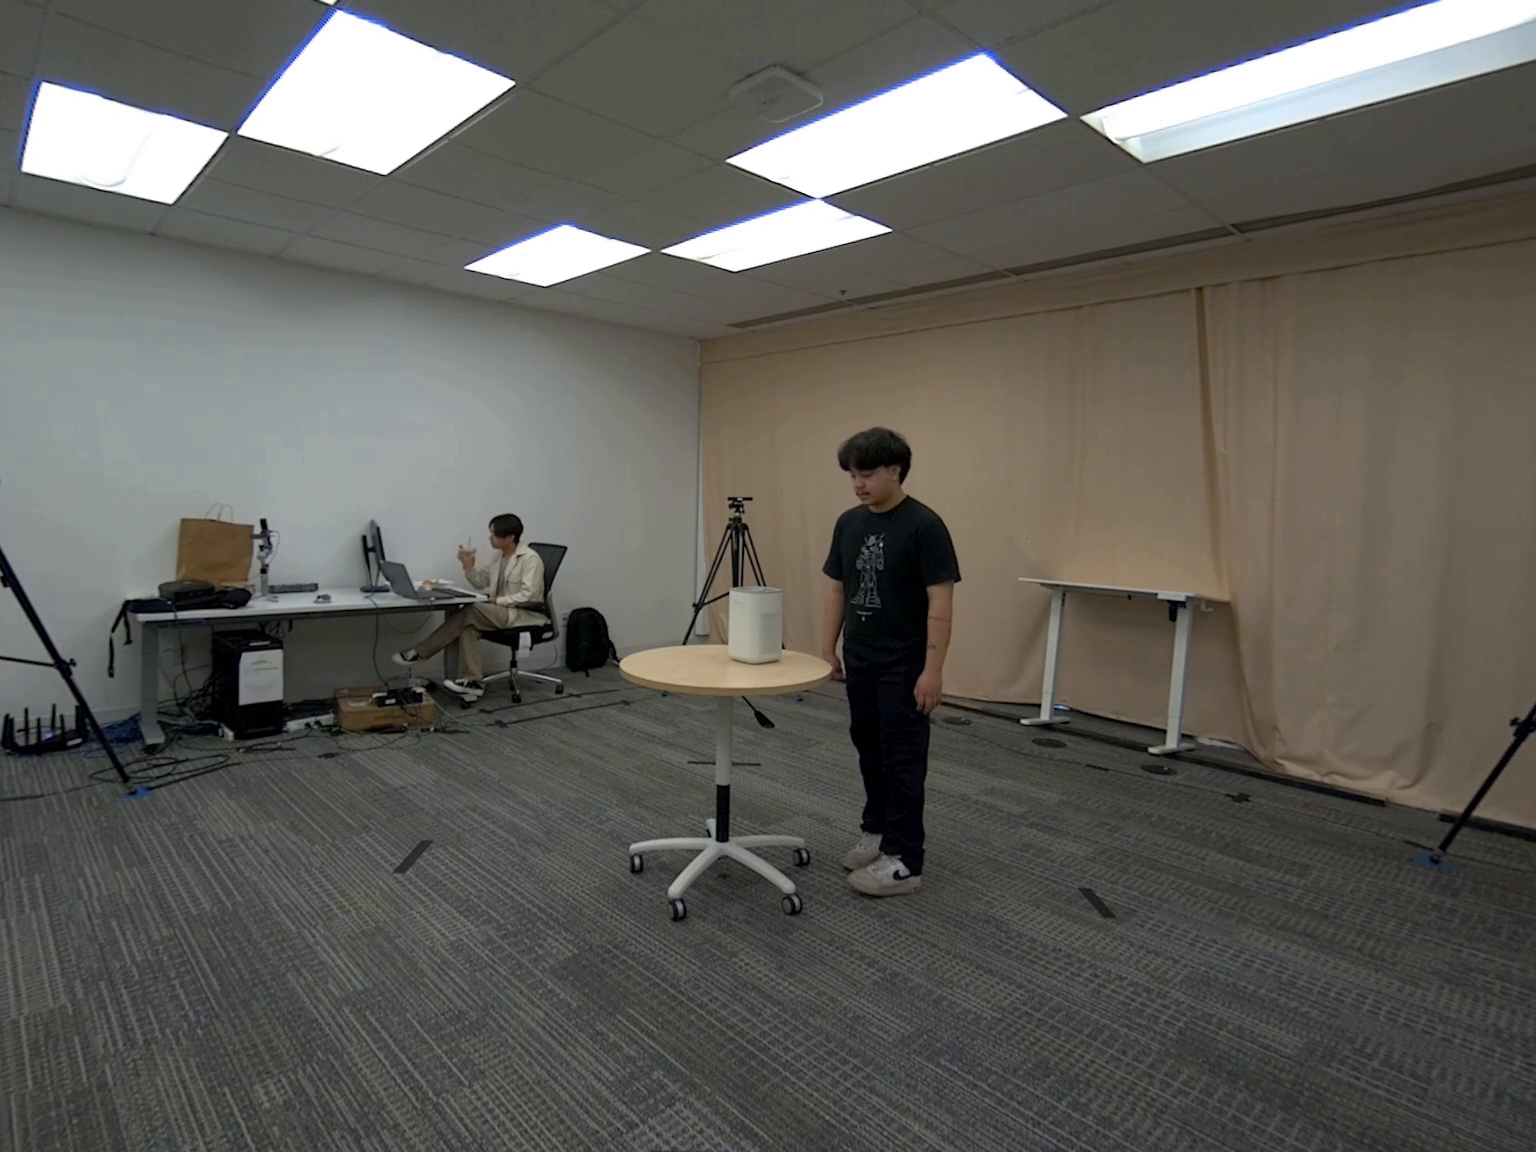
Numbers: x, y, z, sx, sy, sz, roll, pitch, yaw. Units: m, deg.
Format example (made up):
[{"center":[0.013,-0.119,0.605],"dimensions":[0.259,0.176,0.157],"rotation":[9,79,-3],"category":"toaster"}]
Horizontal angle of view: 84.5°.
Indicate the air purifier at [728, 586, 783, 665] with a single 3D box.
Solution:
[{"center":[-0.049,0.174,3.126],"dimensions":[0.168,0.265,0.175],"rotation":[-2,4,-44],"category":"air purifier"}]
